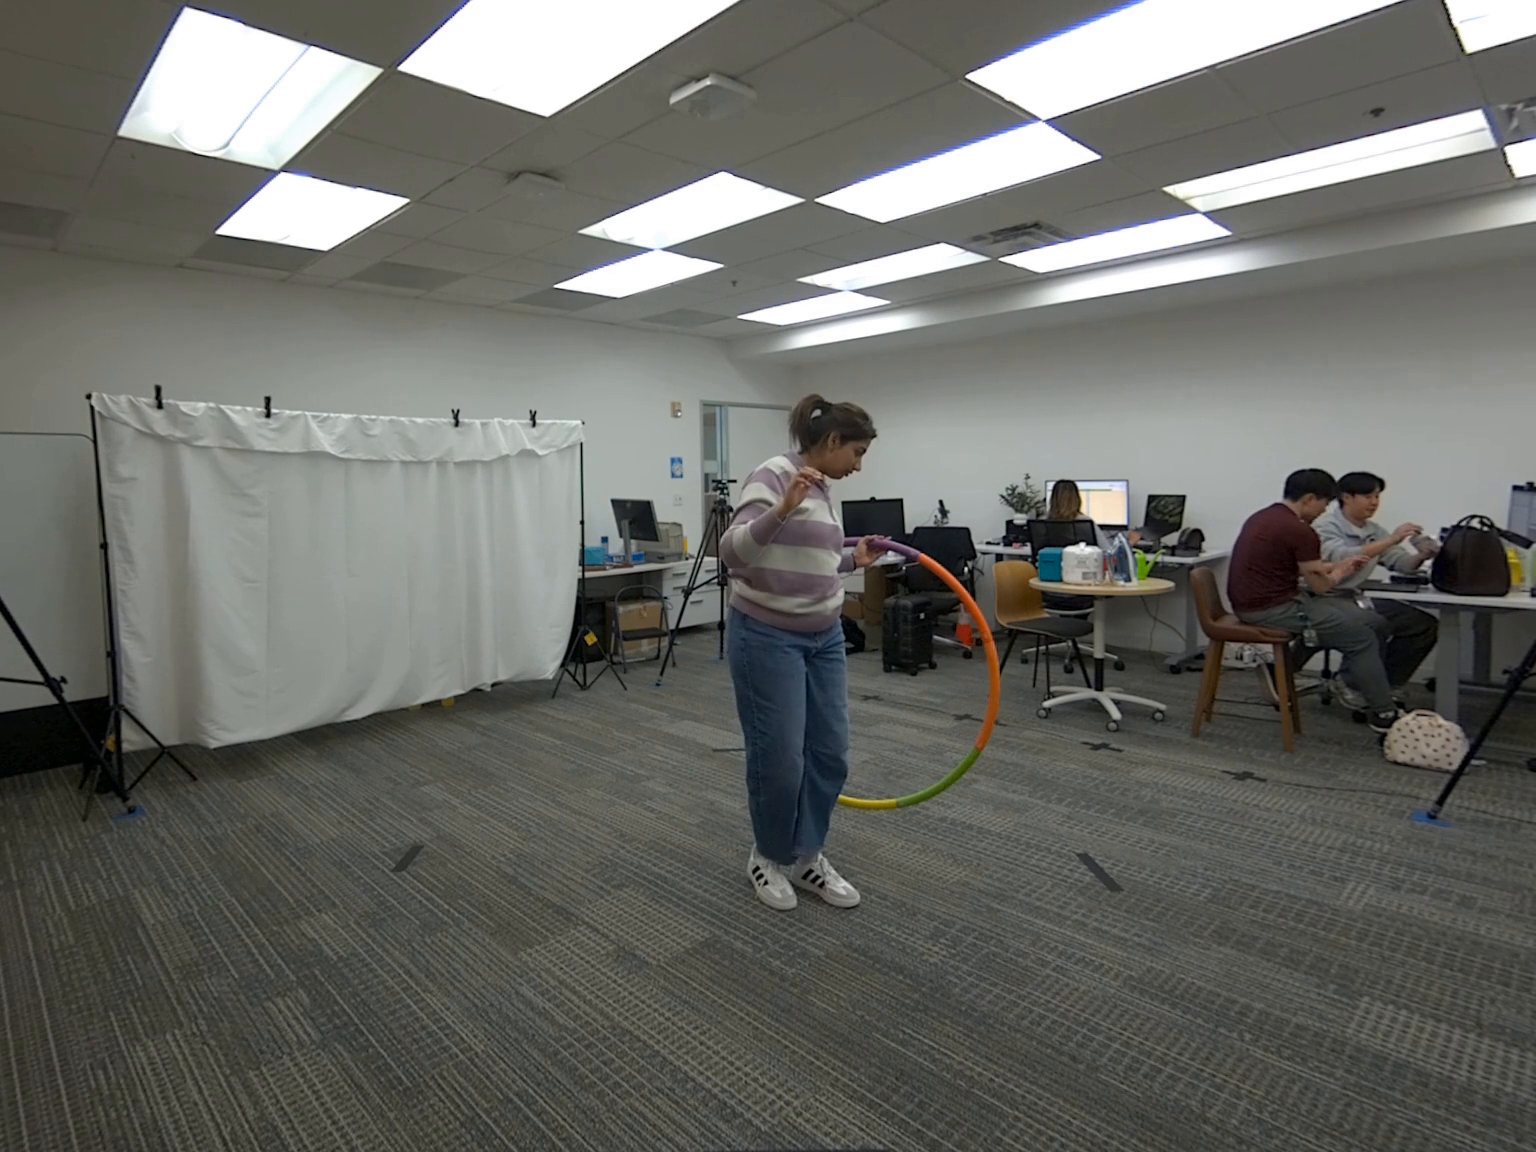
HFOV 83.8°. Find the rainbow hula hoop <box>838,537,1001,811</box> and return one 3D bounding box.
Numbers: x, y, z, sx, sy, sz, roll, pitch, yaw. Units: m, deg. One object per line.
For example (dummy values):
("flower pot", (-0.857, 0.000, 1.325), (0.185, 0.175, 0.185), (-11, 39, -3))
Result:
("rainbow hula hoop", (0.326, 0.362, 3.100), (1.009, 0.984, 0.050), (1, 2, 27))
